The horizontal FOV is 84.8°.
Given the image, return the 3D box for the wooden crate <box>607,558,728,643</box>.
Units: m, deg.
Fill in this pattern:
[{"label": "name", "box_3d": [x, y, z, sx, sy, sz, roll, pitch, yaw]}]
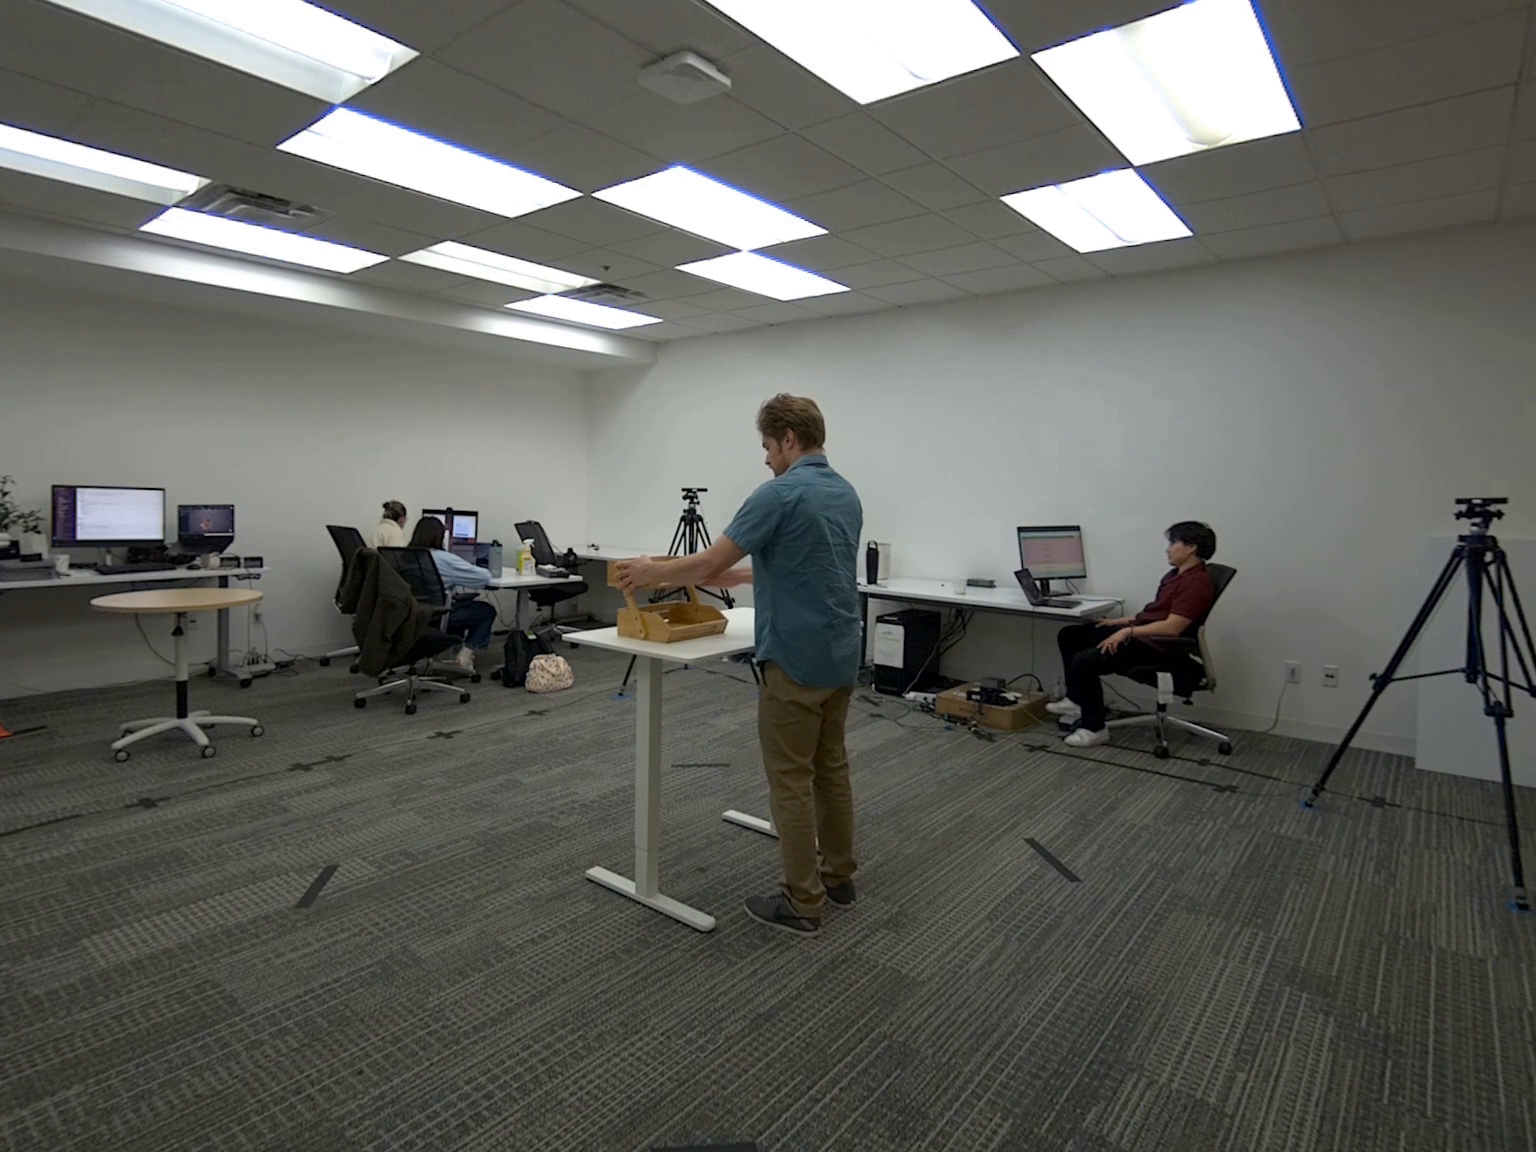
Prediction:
[{"label": "wooden crate", "box_3d": [-0.357, 0.068, 2.971, 0.312, 0.273, 0.315, 3, 4, 38]}]
